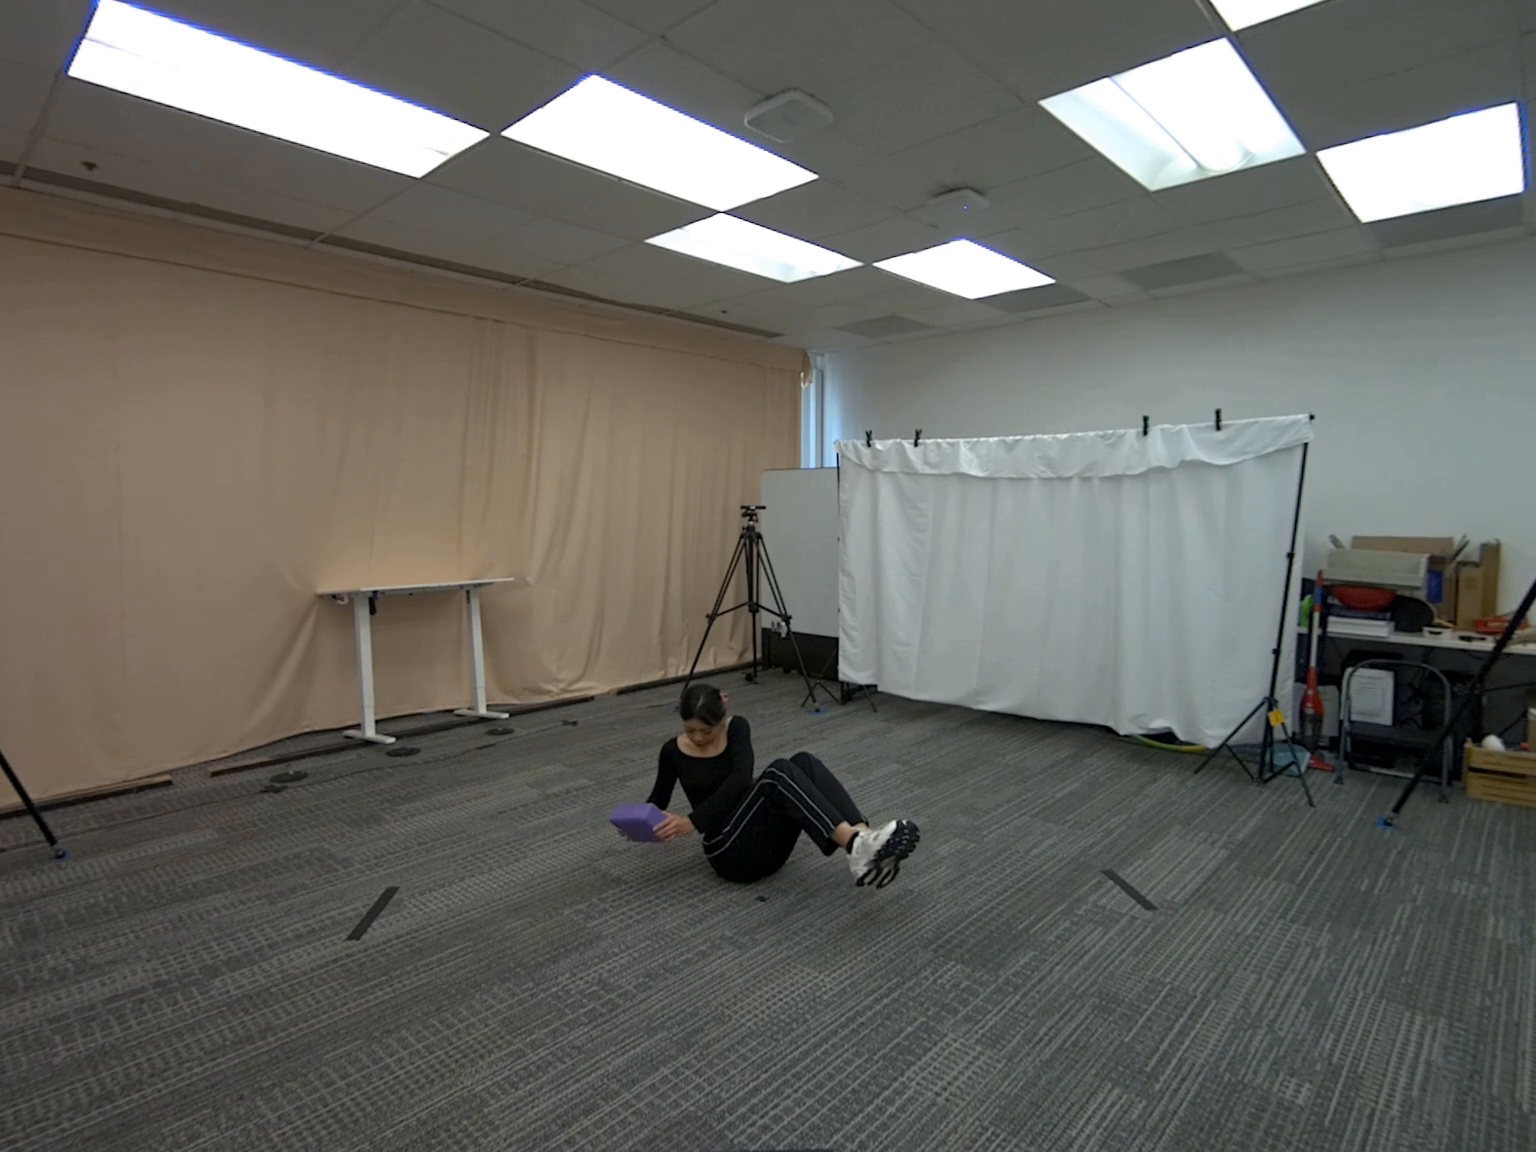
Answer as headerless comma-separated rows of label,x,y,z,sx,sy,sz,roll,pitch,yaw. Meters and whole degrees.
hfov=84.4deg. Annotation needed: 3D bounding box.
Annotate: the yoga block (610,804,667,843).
yoga block,-0.456,0.901,3.102,0.235,0.146,0.076,-18,28,43
